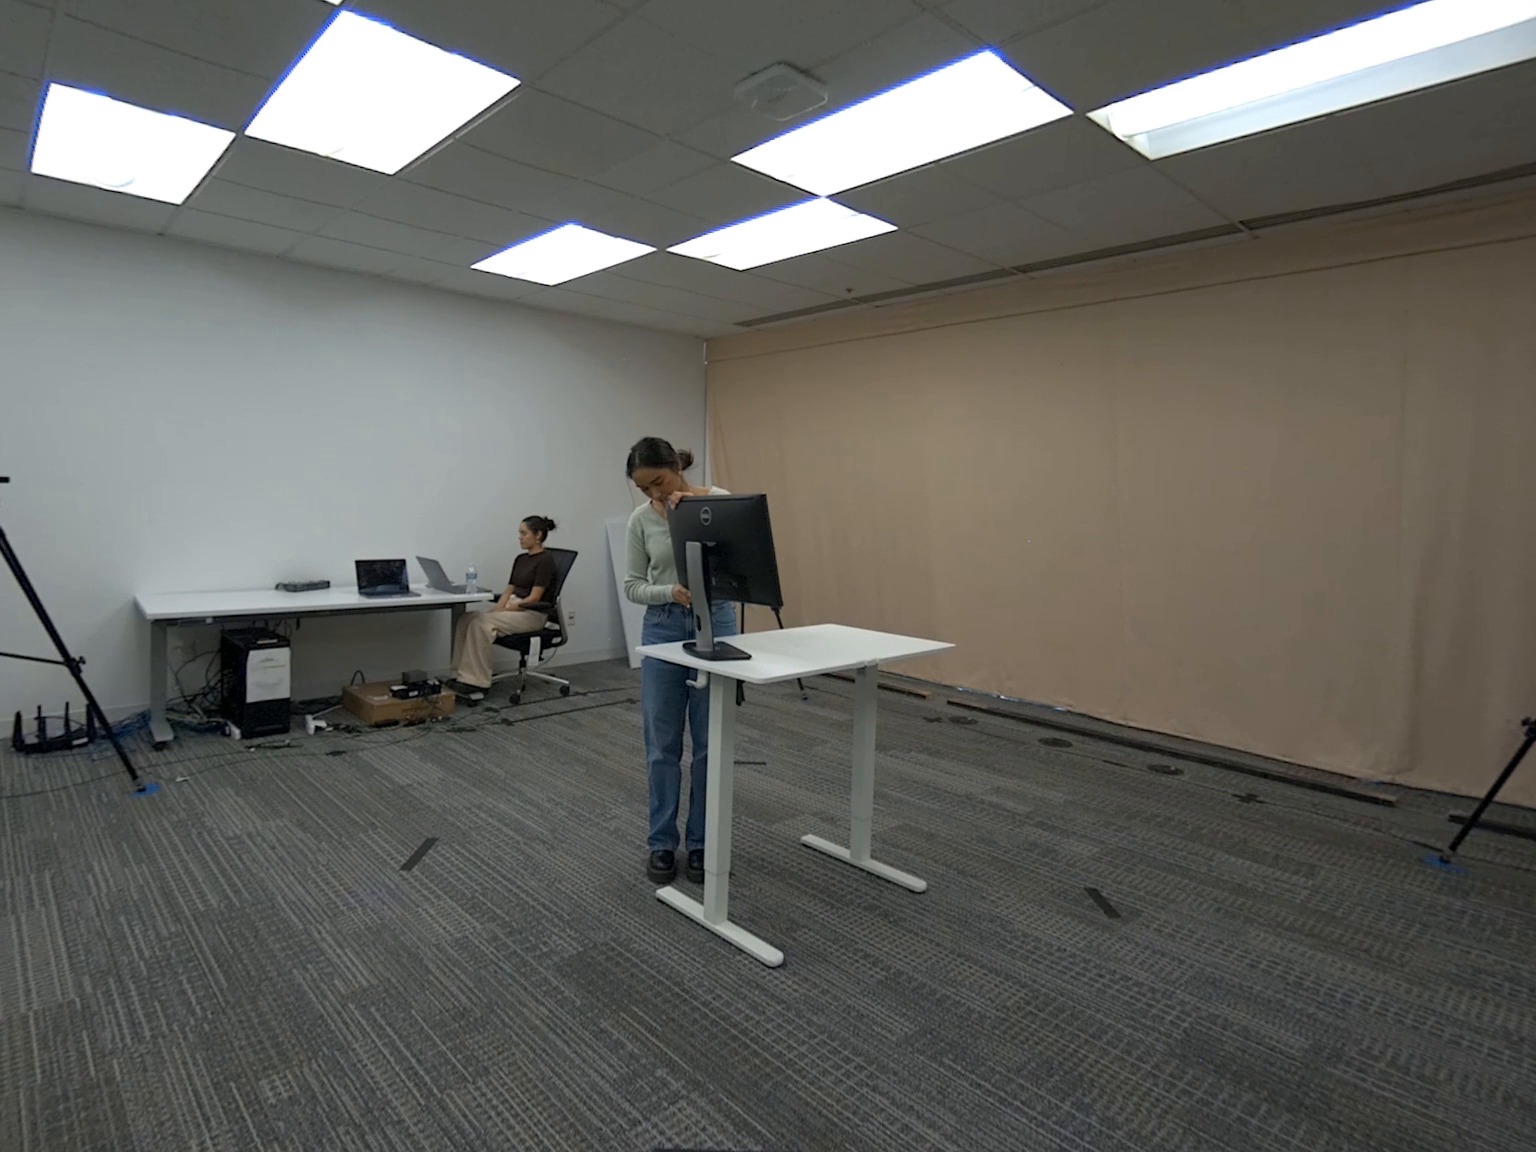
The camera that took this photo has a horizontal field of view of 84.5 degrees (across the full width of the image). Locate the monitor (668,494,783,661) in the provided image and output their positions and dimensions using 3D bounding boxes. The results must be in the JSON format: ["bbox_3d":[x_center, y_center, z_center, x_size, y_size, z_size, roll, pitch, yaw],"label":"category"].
[{"bbox_3d":[-0.193,0.000,2.721,0.183,0.522,0.552,-1,4,-40],"label":"monitor"}]
